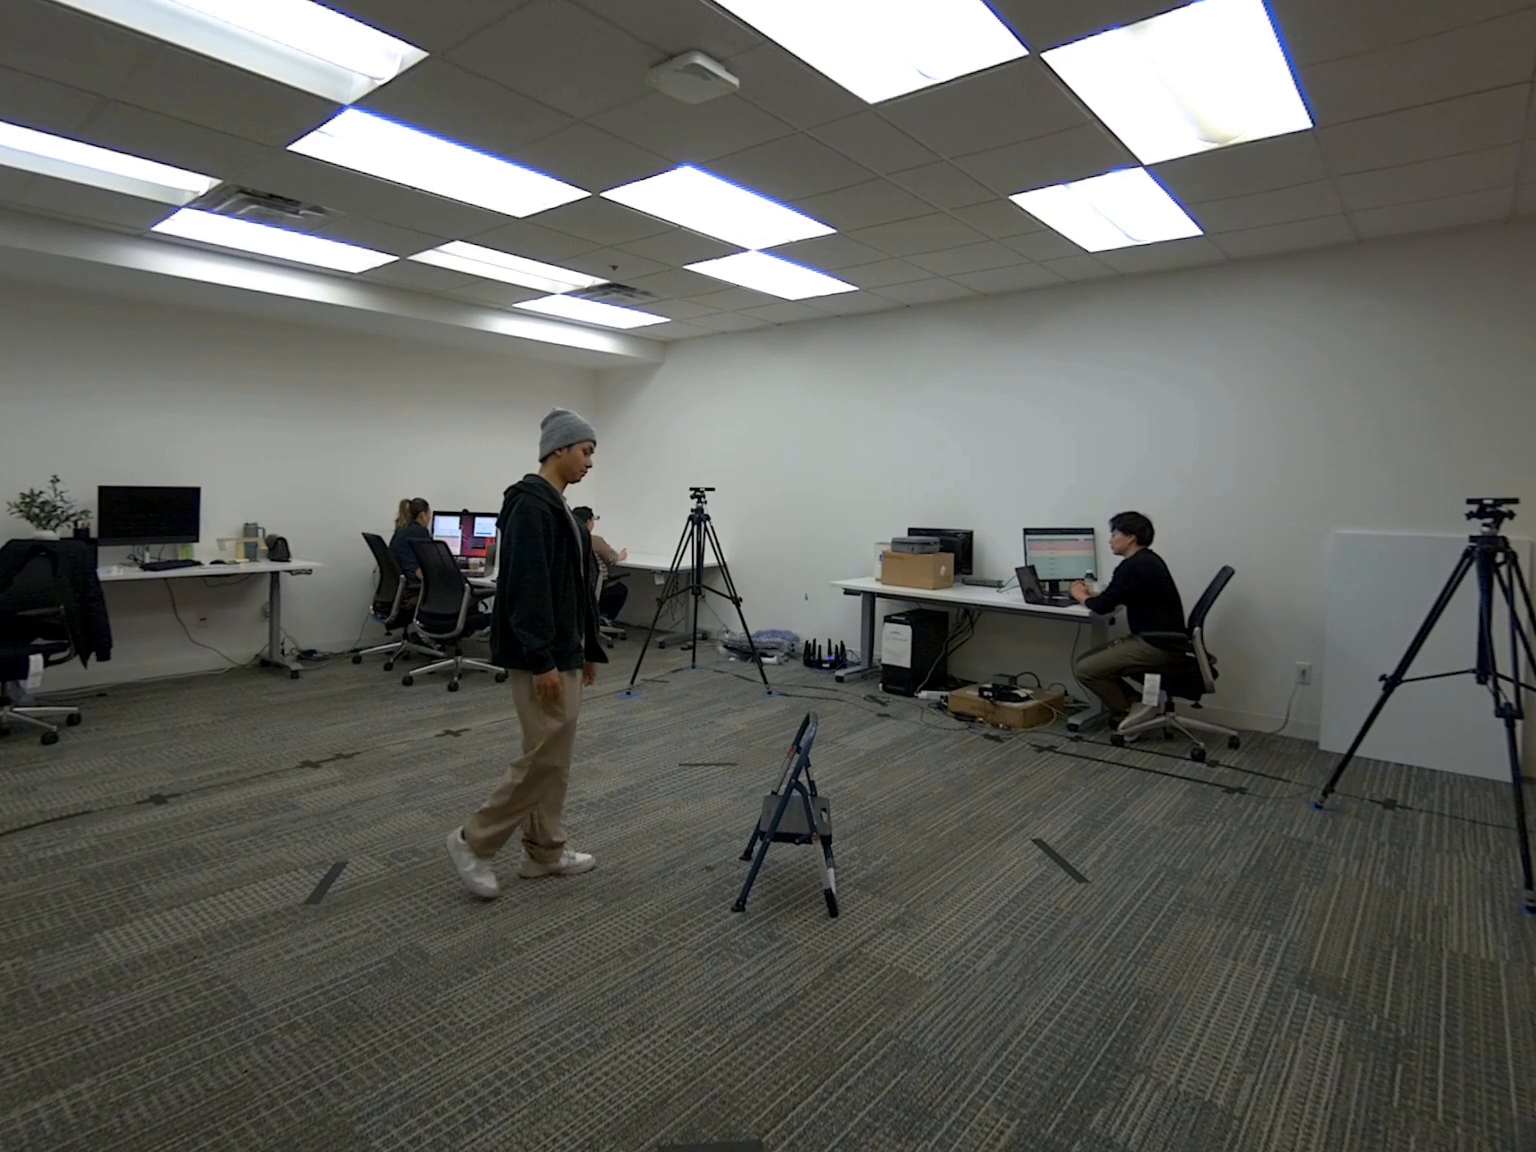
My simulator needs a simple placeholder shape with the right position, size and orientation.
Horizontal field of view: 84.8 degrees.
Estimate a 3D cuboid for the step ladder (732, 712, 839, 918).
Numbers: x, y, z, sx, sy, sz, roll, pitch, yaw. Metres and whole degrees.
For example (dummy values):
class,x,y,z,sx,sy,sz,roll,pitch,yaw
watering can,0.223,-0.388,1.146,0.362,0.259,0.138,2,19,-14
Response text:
class,x,y,z,sx,sy,sz,roll,pitch,yaw
step ladder,0.067,0.787,2.965,0.351,0.605,0.430,1,3,3
